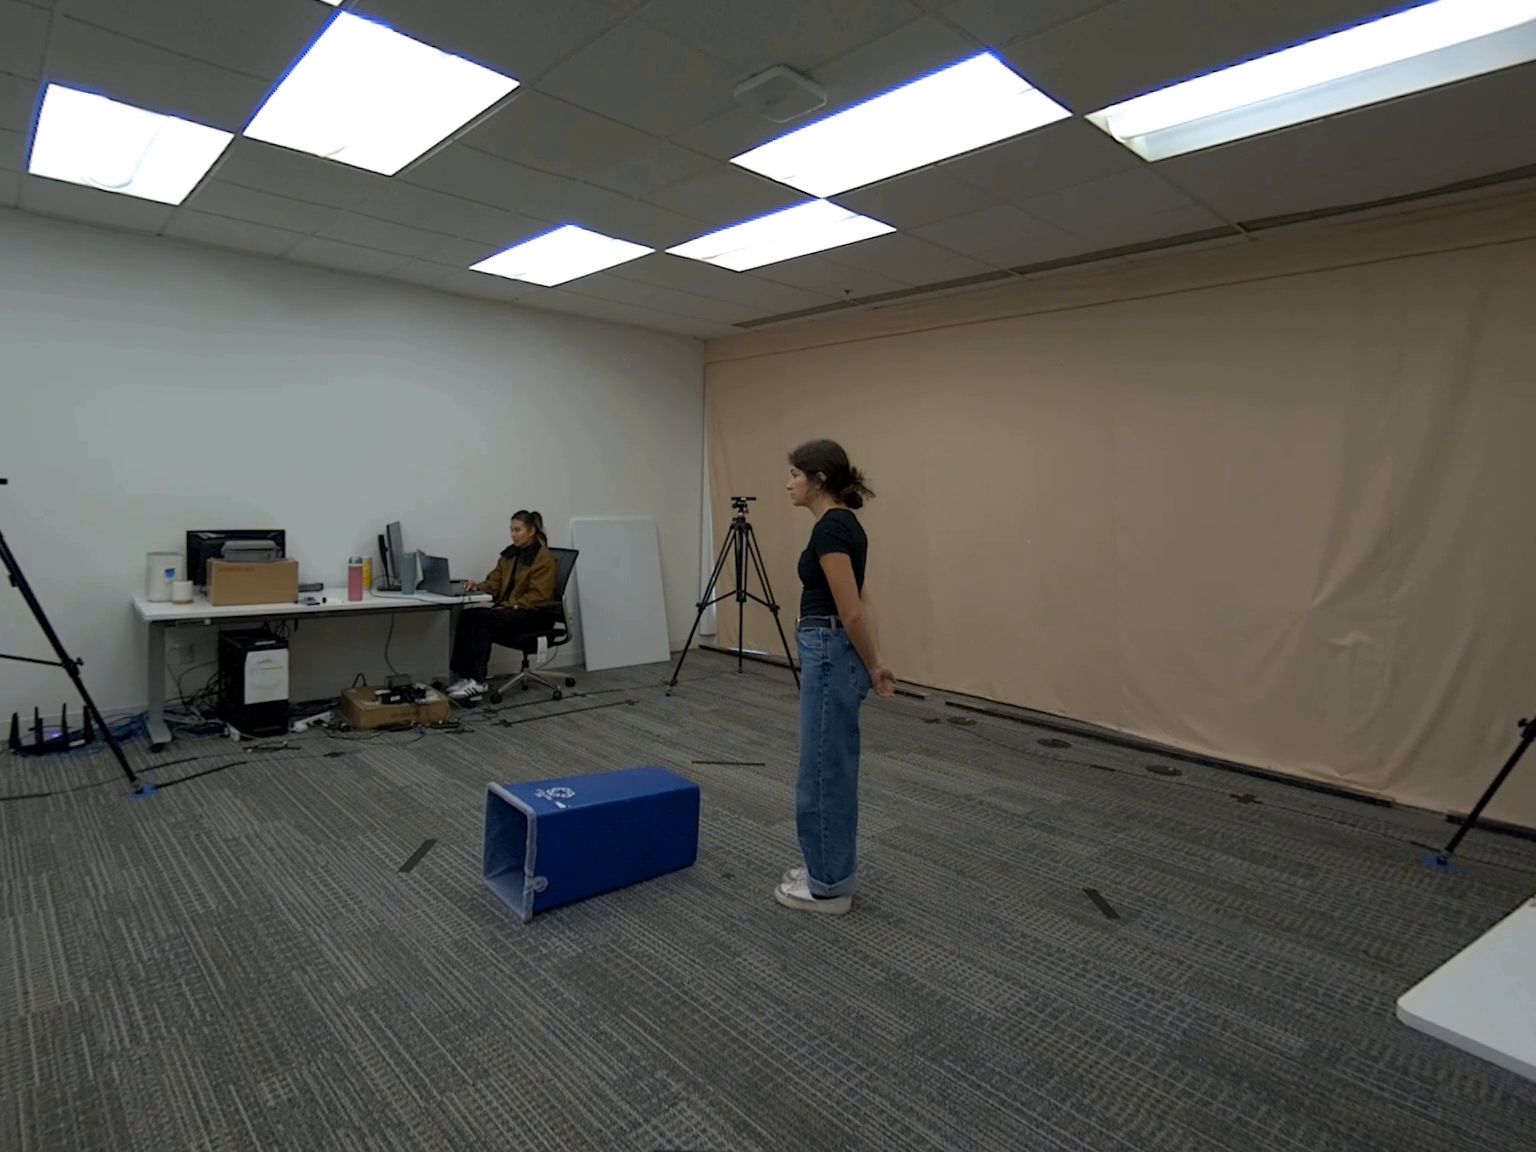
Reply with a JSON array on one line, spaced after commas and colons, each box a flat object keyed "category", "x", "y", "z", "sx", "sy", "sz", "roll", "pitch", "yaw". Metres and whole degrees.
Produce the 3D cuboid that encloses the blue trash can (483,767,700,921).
[{"category": "blue trash can", "x": -0.635, "y": 0.929, "z": 3.077, "sx": 0.696, "sy": 0.377, "sz": 0.383, "roll": 1, "pitch": 3, "yaw": -41}]
